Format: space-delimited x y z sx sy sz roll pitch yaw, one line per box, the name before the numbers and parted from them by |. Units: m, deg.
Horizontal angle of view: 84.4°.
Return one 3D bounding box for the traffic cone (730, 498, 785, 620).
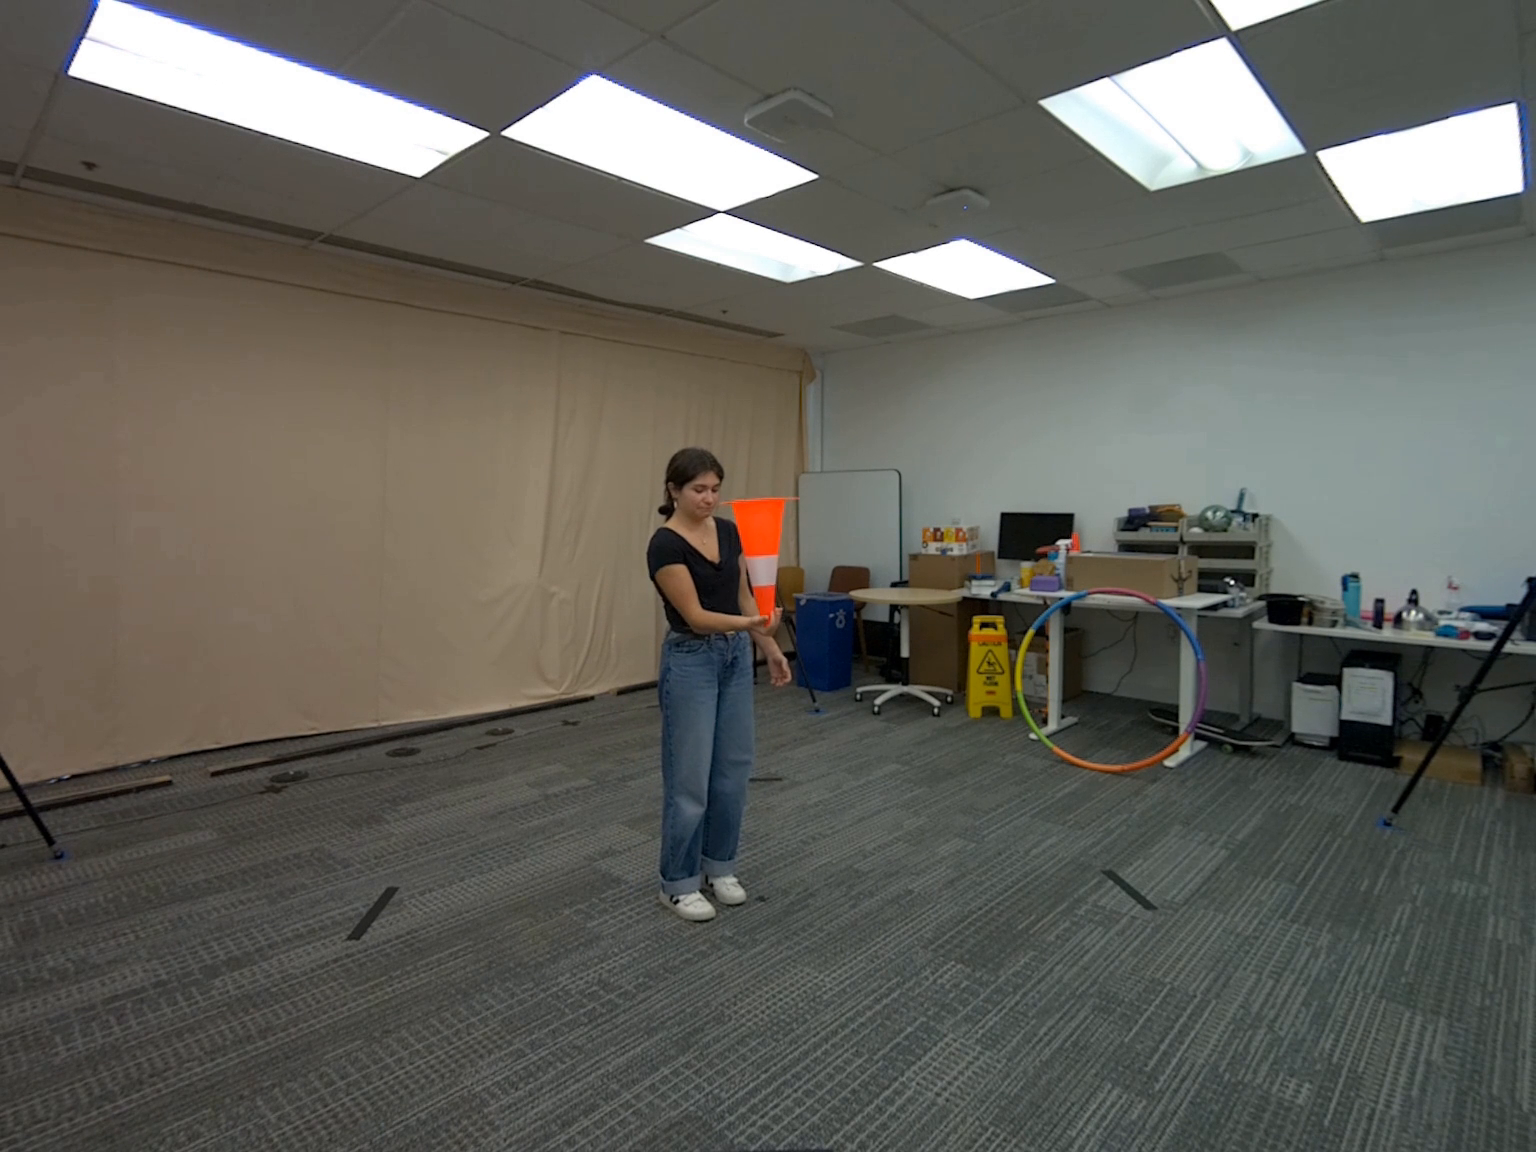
traffic cone | -0.018 -0.035 2.544 0.199 0.383 0.210 -5 4 -22
